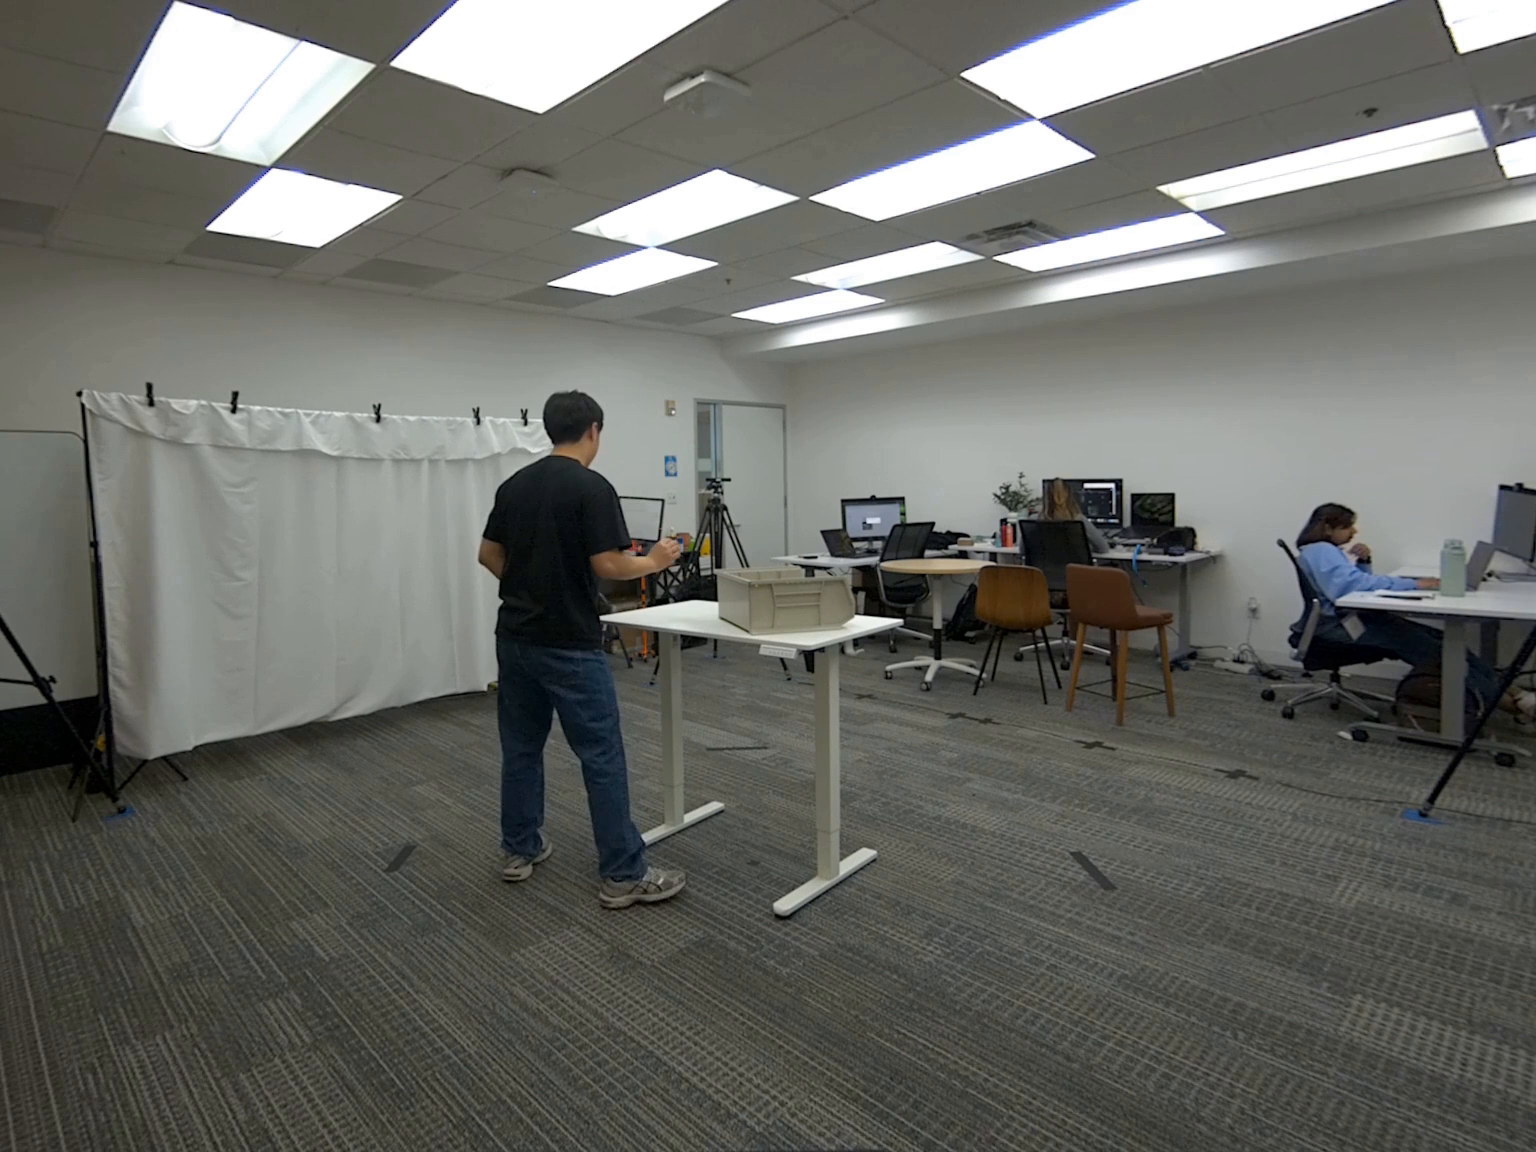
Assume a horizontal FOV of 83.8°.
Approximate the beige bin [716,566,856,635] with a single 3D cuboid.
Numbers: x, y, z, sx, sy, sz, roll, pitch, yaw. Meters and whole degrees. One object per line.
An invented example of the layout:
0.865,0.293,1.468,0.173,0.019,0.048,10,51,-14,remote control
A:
0.049,0.078,3.003,0.372,0.188,0.431,-3,6,-17,beige bin
